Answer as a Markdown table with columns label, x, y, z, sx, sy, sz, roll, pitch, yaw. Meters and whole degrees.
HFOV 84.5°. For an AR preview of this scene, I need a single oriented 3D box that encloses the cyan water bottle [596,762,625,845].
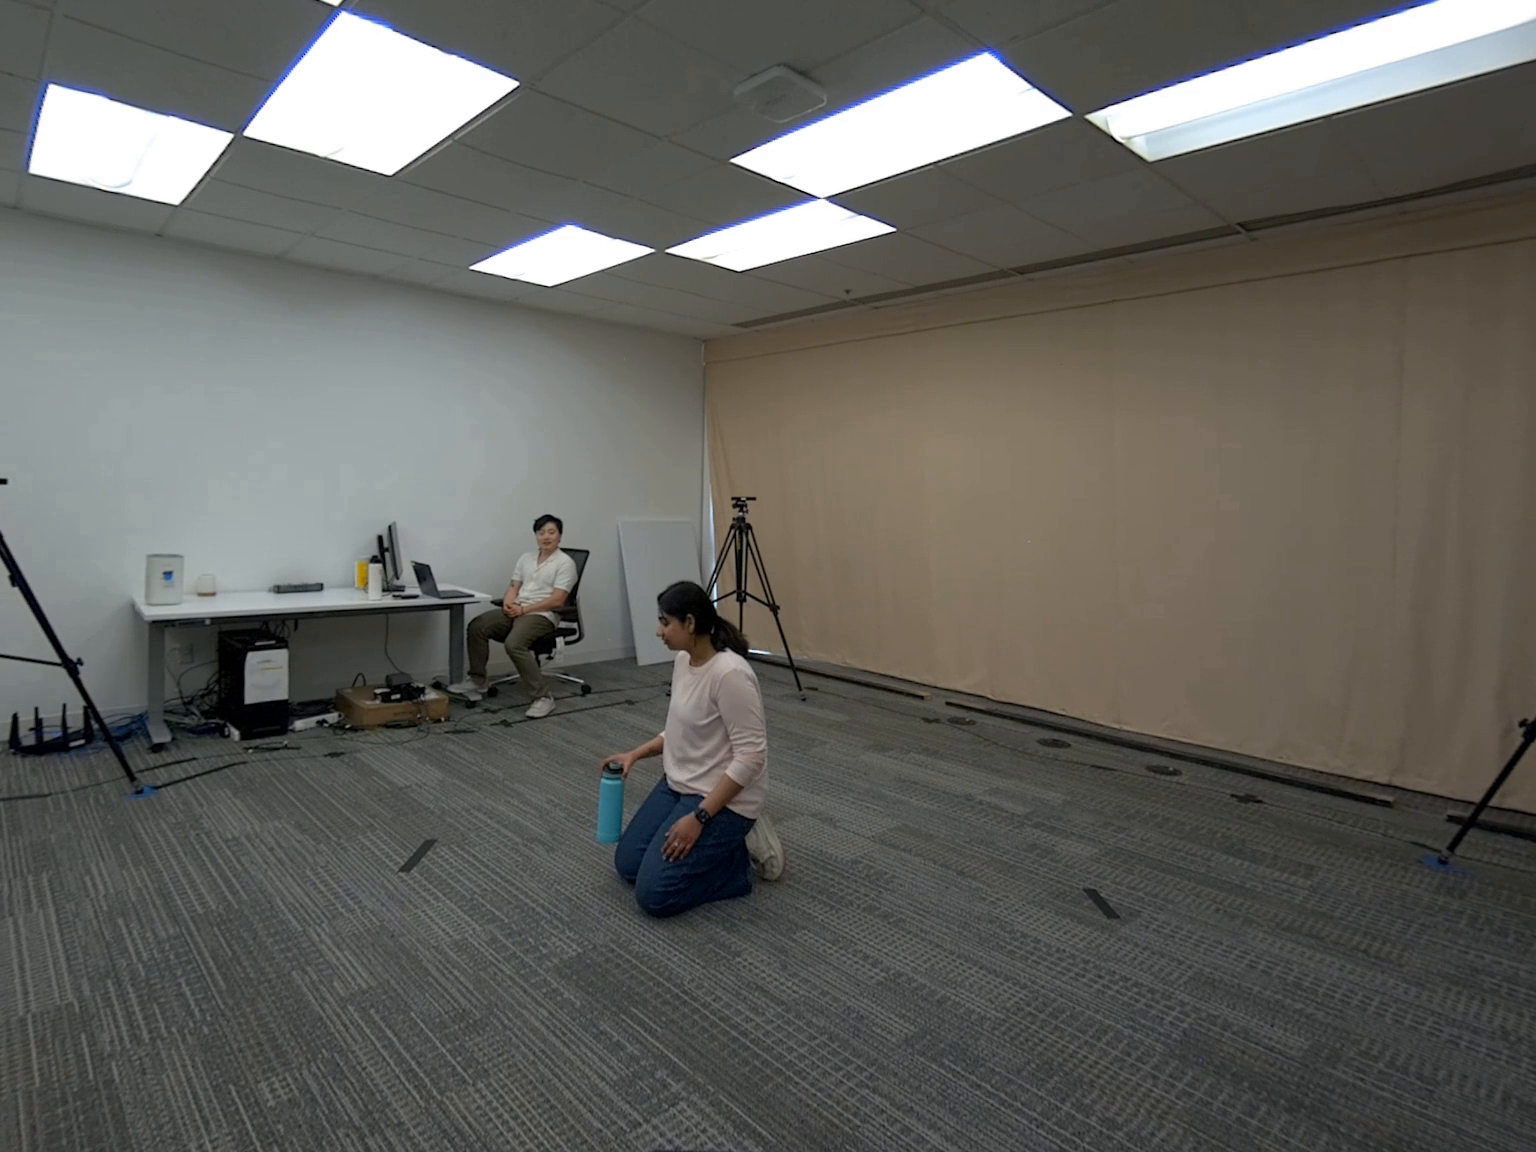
| label | x | y | z | sx | sy | sz | roll | pitch | yaw |
| --- | --- | --- | --- | --- | --- | --- | --- | --- | --- |
| cyan water bottle | -0.579 | 0.808 | 3.073 | 0.092 | 0.283 | 0.092 | 3 | -1 | -1 |
